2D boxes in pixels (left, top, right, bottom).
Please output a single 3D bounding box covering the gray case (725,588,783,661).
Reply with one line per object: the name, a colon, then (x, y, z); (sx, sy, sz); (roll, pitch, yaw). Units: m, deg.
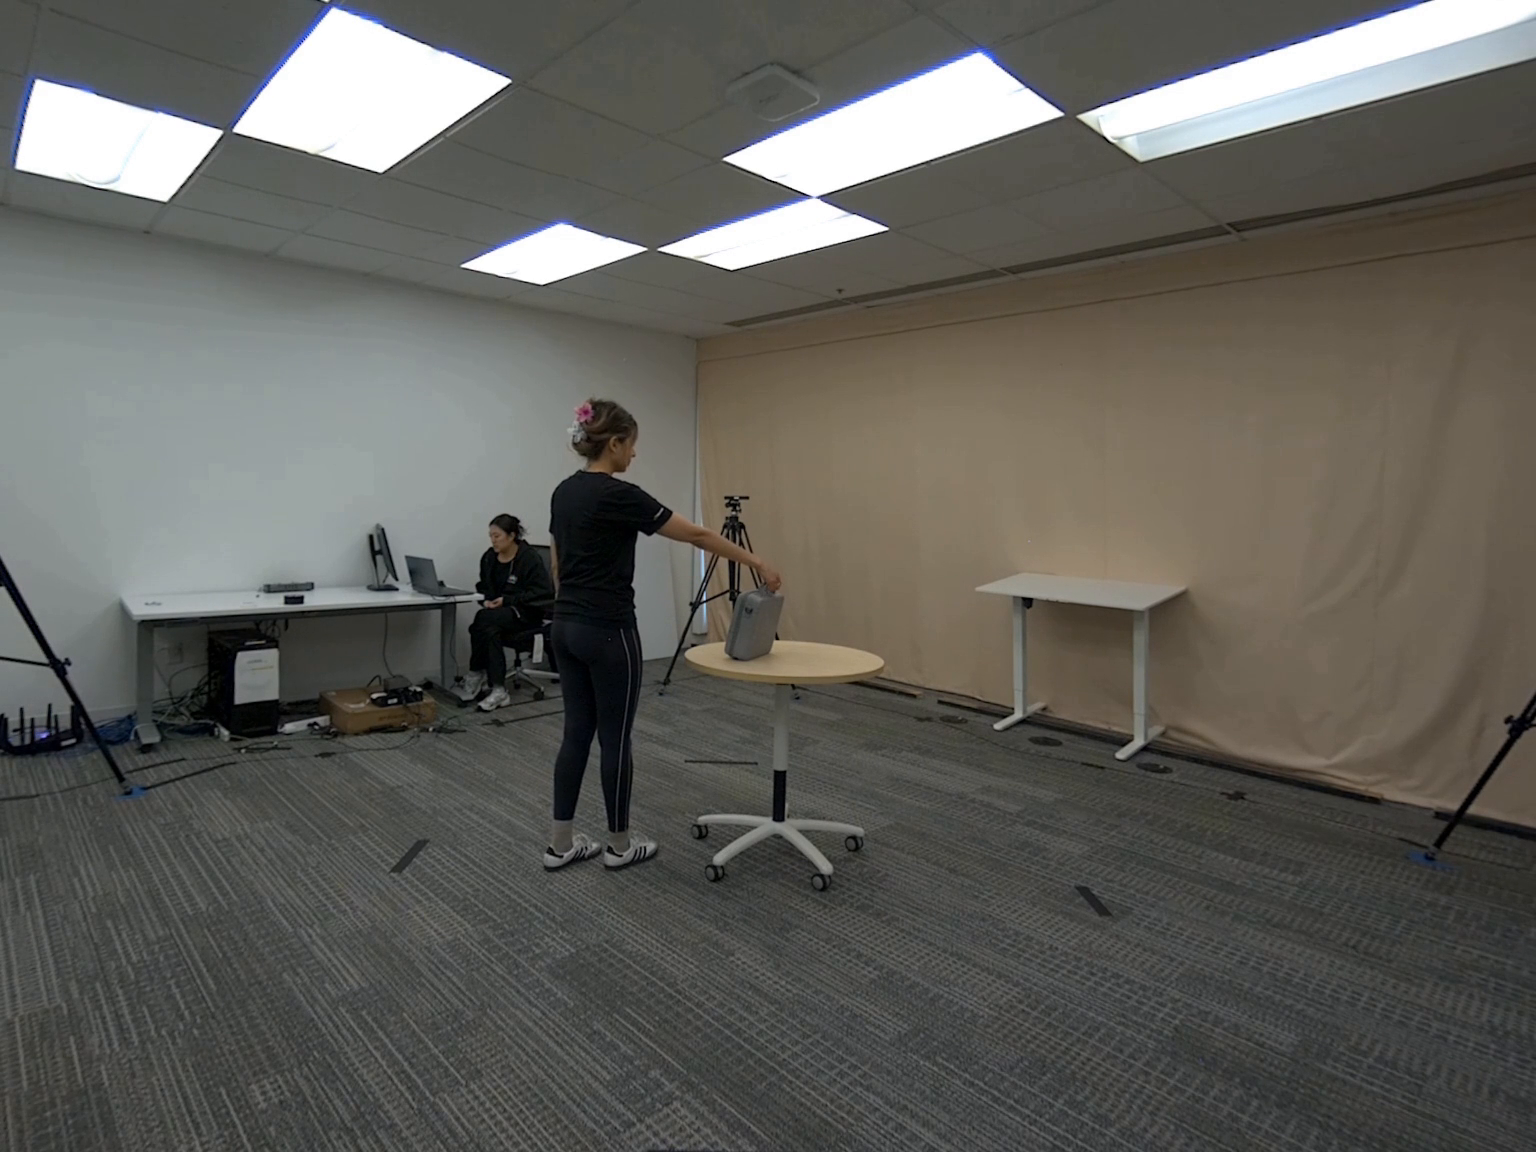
gray case: (-0.055, 0.177, 3.220); (0.106, 0.259, 0.253); (16, 10, 23)
